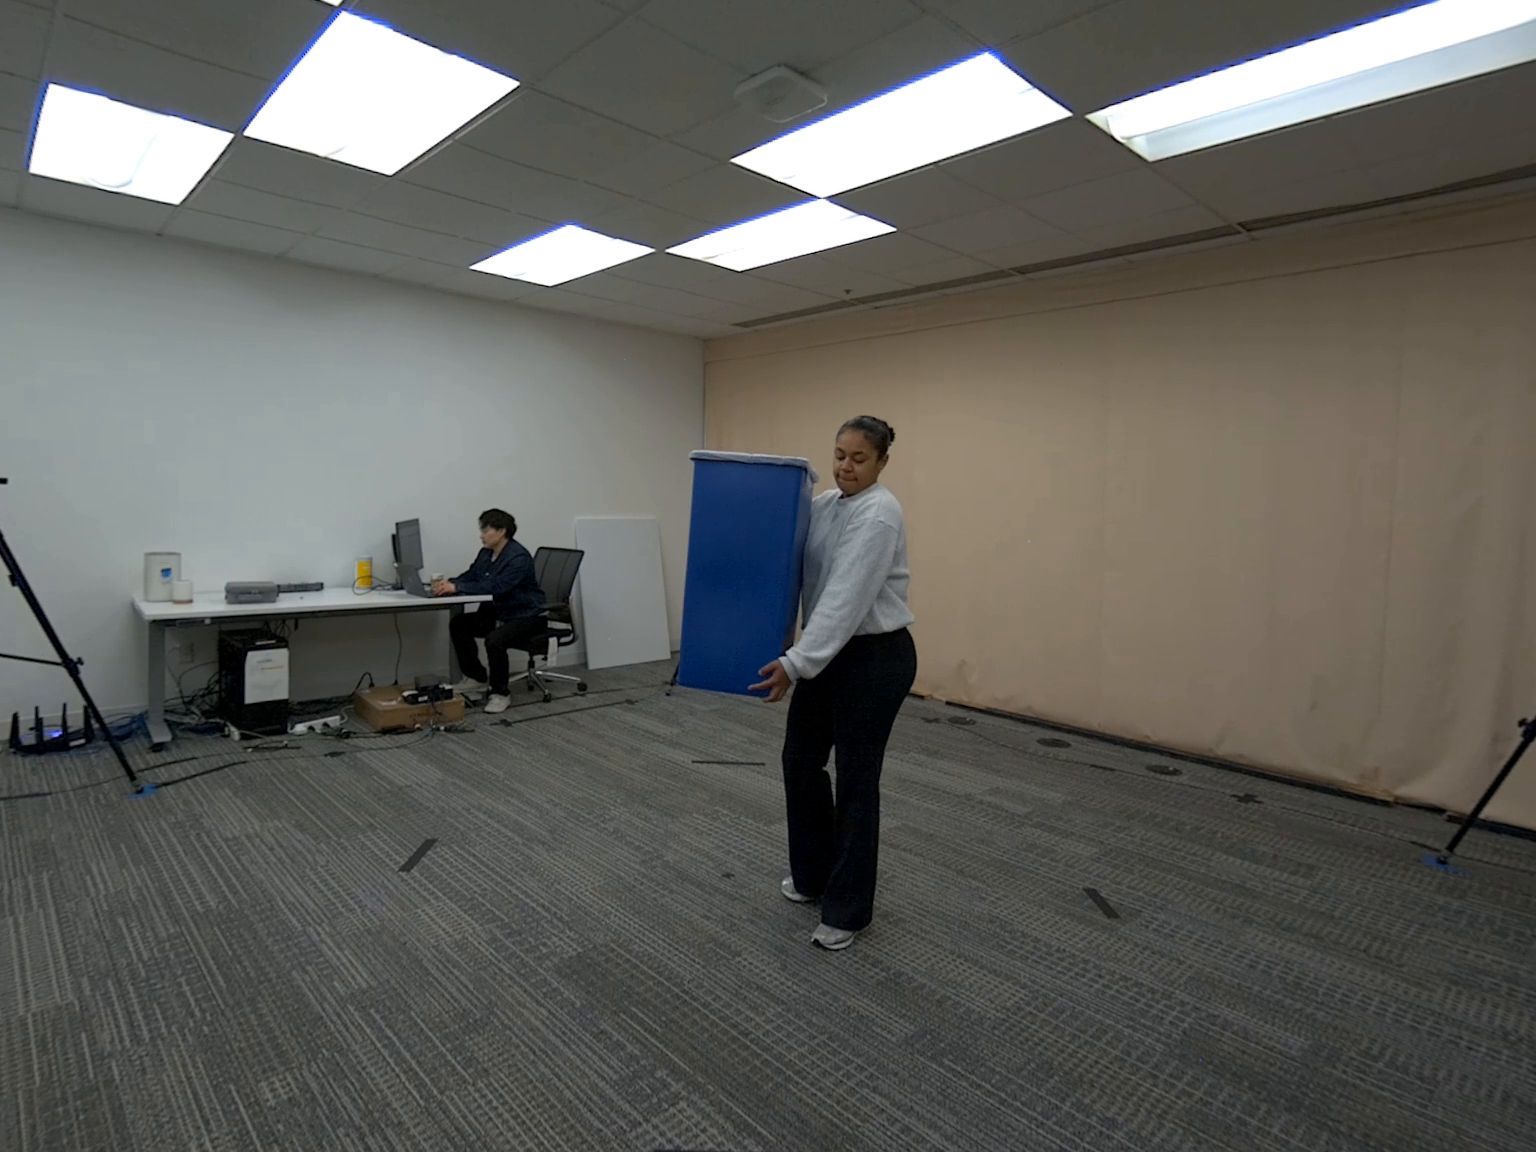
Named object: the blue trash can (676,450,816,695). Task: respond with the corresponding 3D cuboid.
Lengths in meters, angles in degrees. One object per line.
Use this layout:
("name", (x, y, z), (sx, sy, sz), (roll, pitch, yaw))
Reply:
("blue trash can", (-0.073, -0.006, 2.677), (0.381, 0.715, 0.370), (6, -3, 9))
